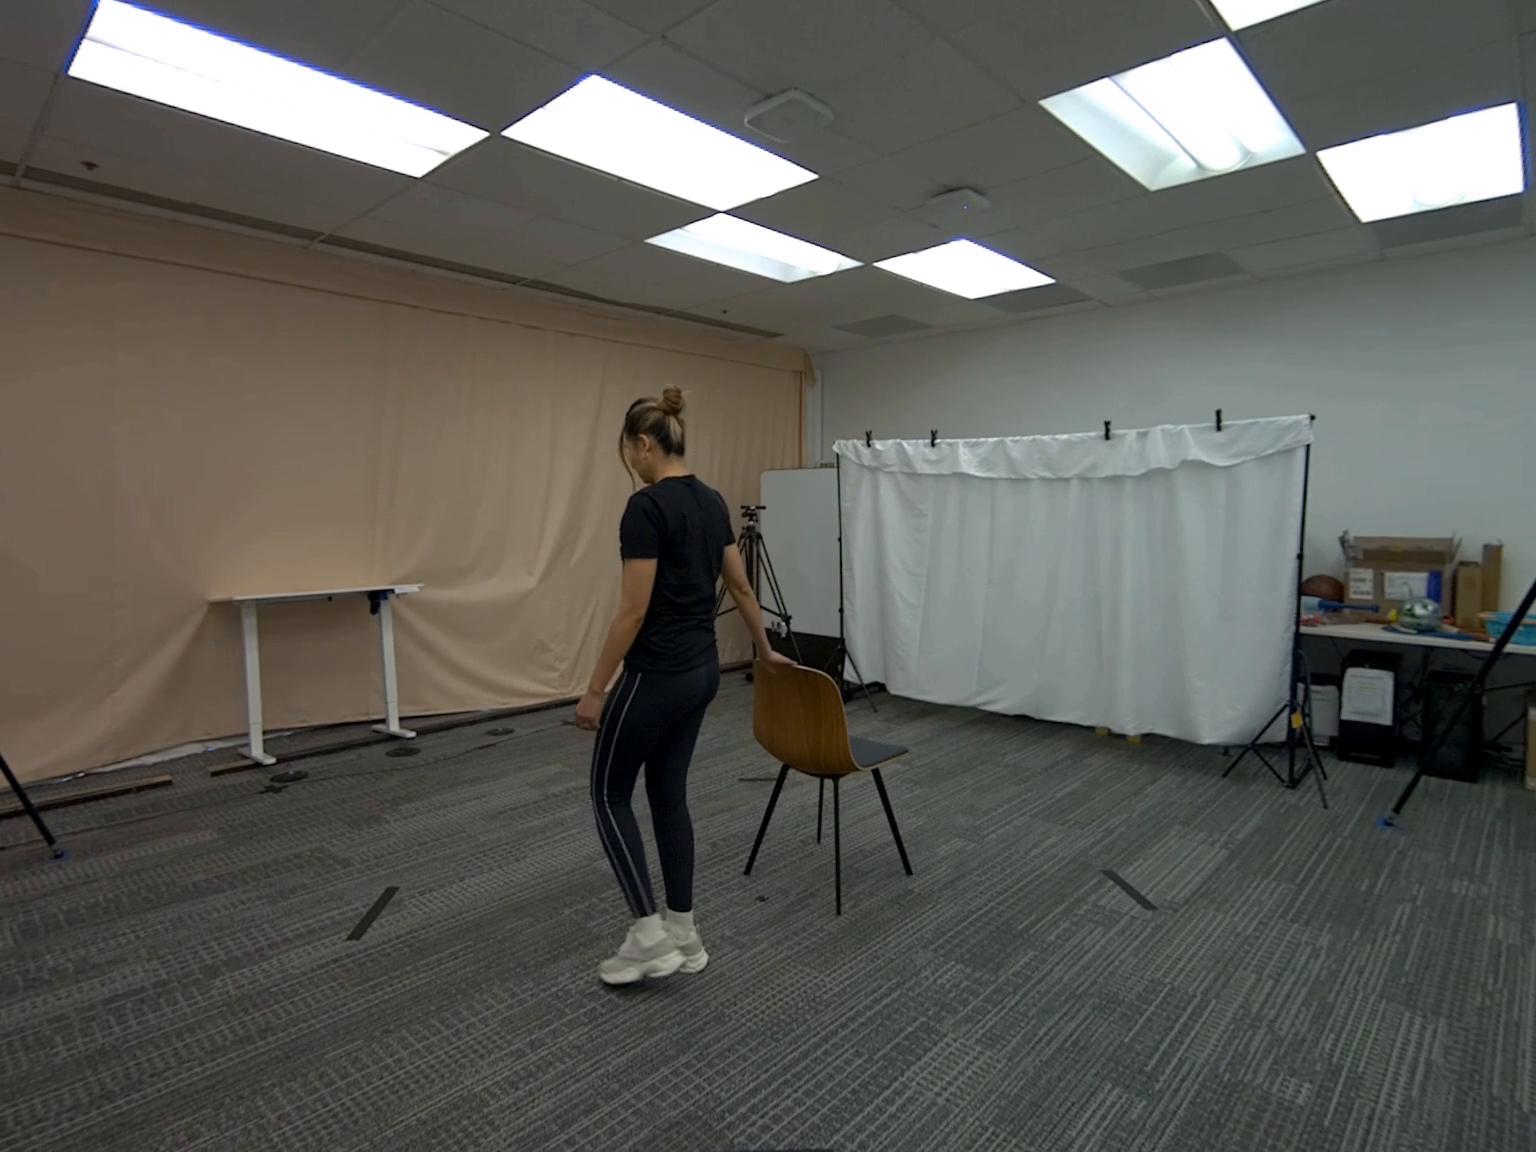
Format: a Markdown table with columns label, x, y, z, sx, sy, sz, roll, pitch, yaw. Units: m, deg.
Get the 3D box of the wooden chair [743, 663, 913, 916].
| label | x | y | z | sx | sy | sz | roll | pitch | yaw |
| --- | --- | --- | --- | --- | --- | --- | --- | --- | --- |
| wooden chair | 0.233 | 0.700 | 3.151 | 0.494 | 0.873 | 0.508 | 3 | 9 | 43 |
